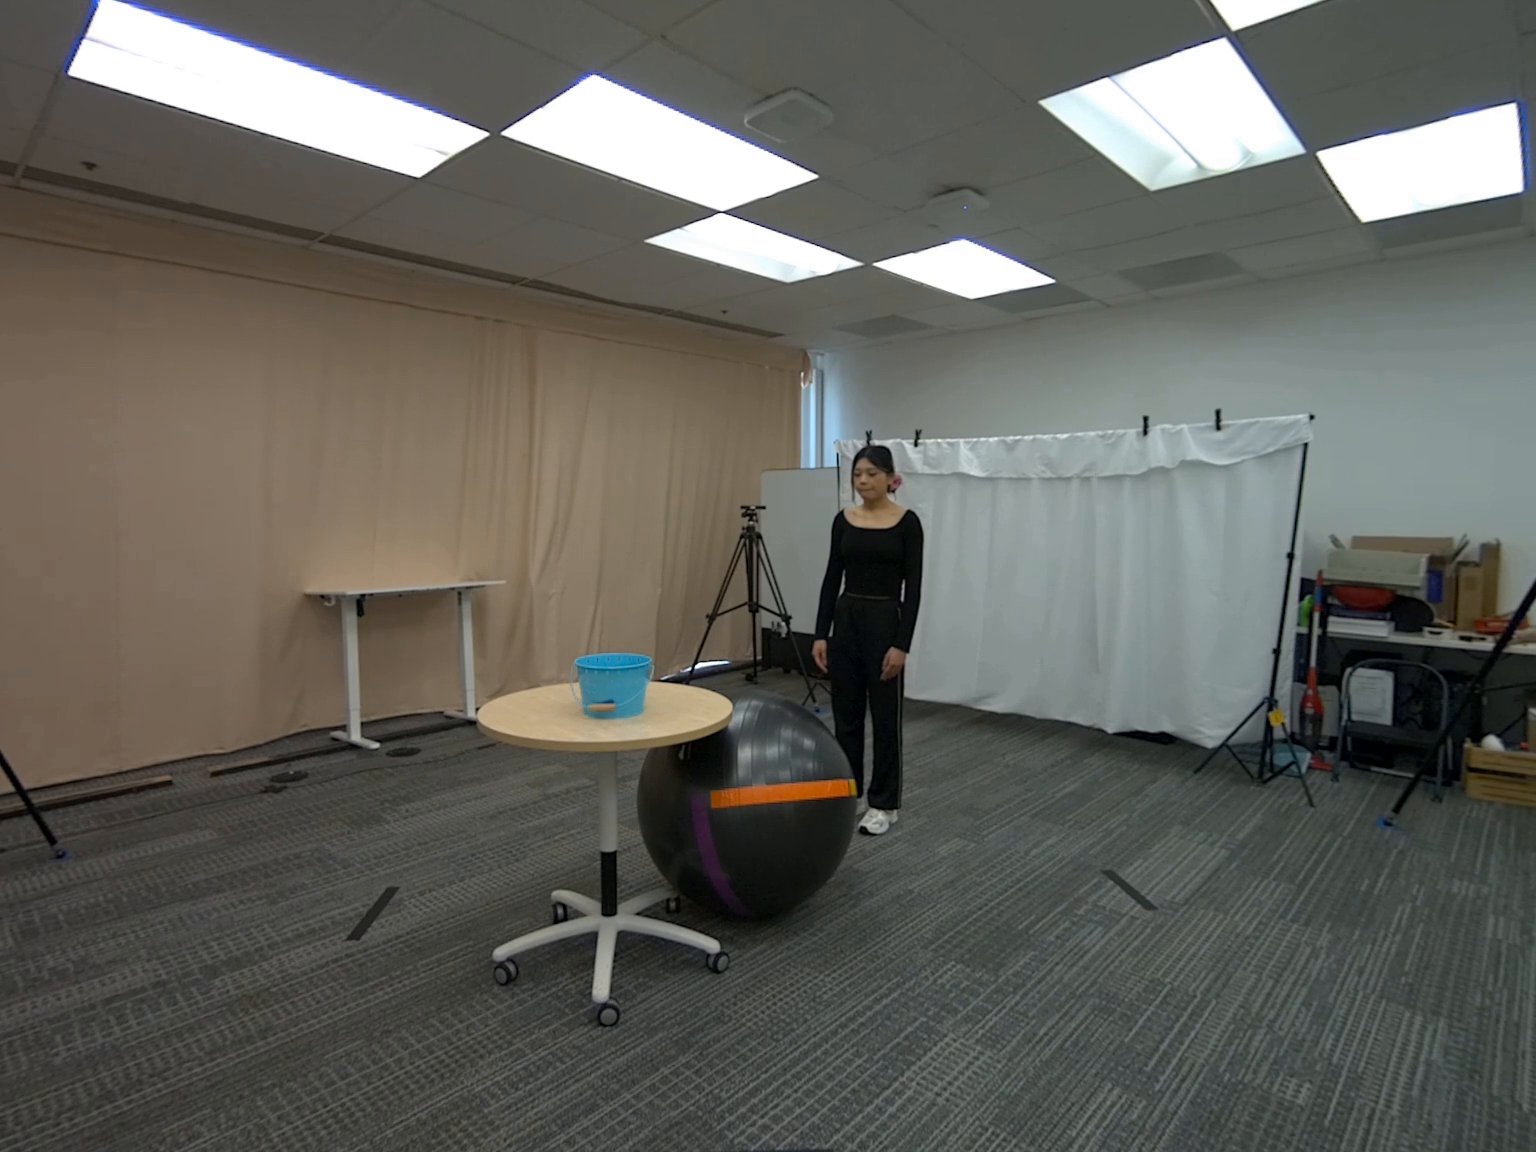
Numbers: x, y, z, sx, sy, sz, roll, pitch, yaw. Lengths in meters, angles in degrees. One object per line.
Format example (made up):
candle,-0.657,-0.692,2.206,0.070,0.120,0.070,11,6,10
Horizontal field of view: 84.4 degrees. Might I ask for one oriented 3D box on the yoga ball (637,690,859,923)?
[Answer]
yoga ball,-0.077,0.783,2.934,0.757,0.756,0.760,0,4,-2
